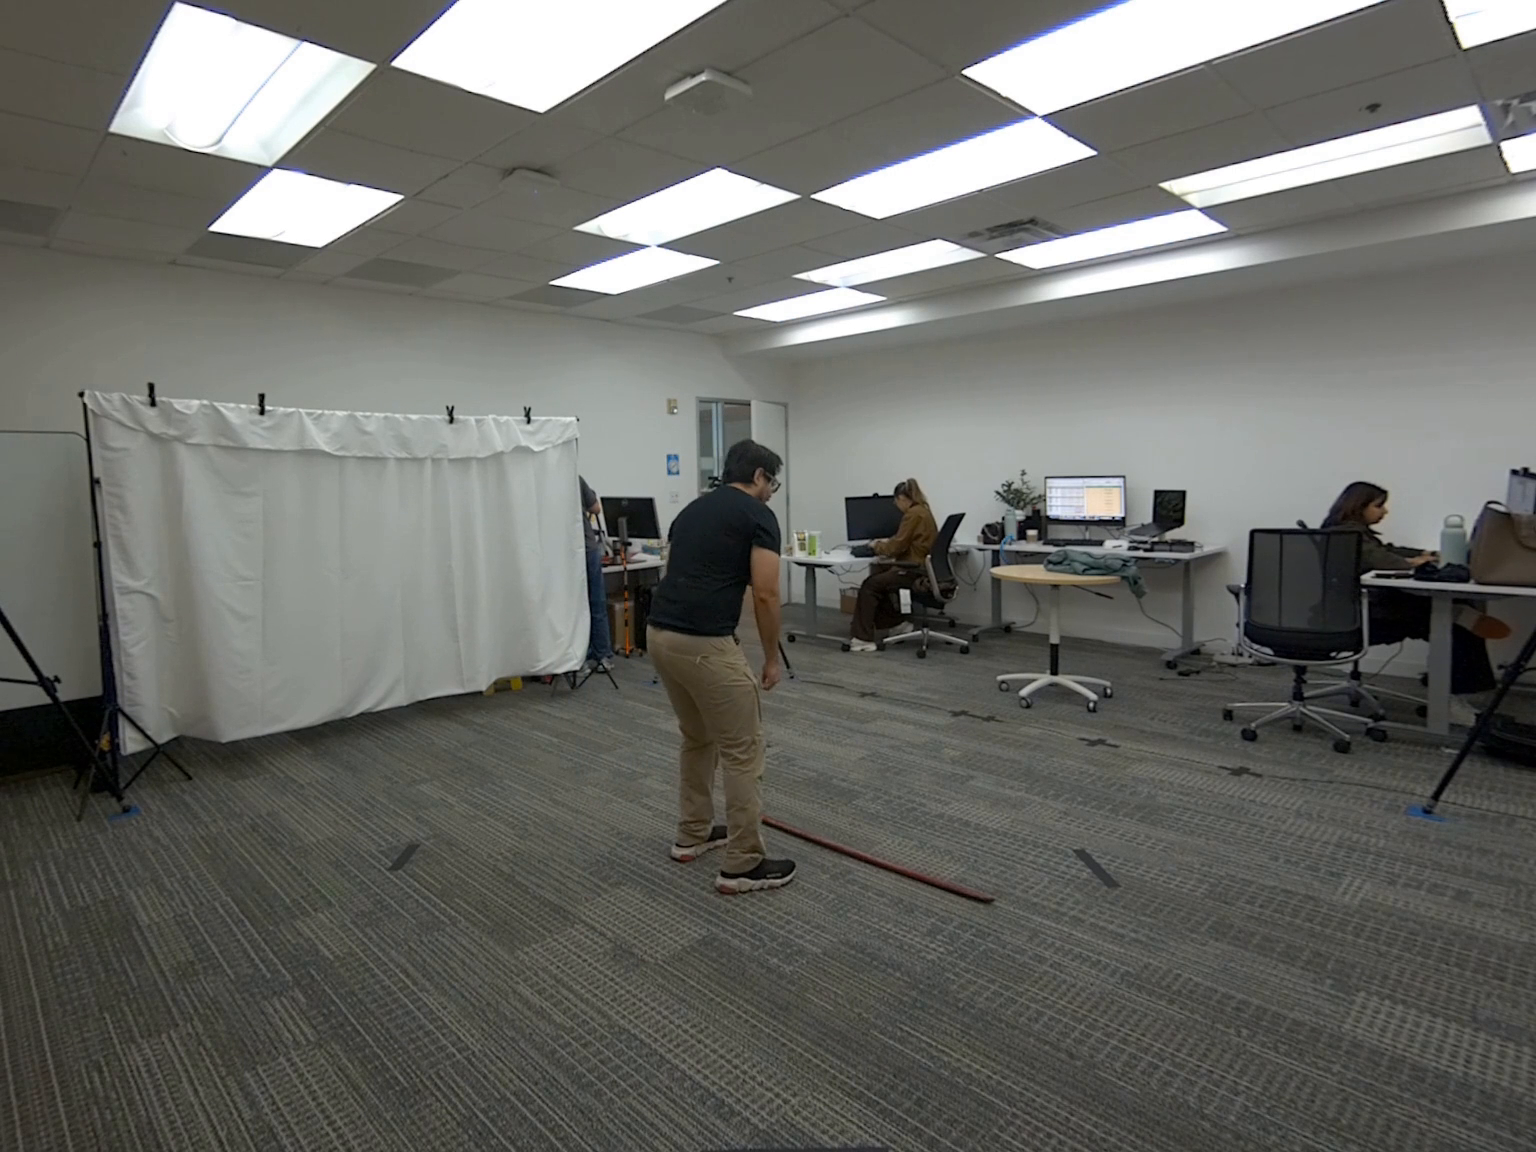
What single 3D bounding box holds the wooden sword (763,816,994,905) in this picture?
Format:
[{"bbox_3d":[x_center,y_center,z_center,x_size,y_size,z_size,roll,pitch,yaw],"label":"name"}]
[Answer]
[{"bbox_3d":[0.320,1.004,3.117,1.057,0.024,0.050,6,1,43],"label":"wooden sword"}]
